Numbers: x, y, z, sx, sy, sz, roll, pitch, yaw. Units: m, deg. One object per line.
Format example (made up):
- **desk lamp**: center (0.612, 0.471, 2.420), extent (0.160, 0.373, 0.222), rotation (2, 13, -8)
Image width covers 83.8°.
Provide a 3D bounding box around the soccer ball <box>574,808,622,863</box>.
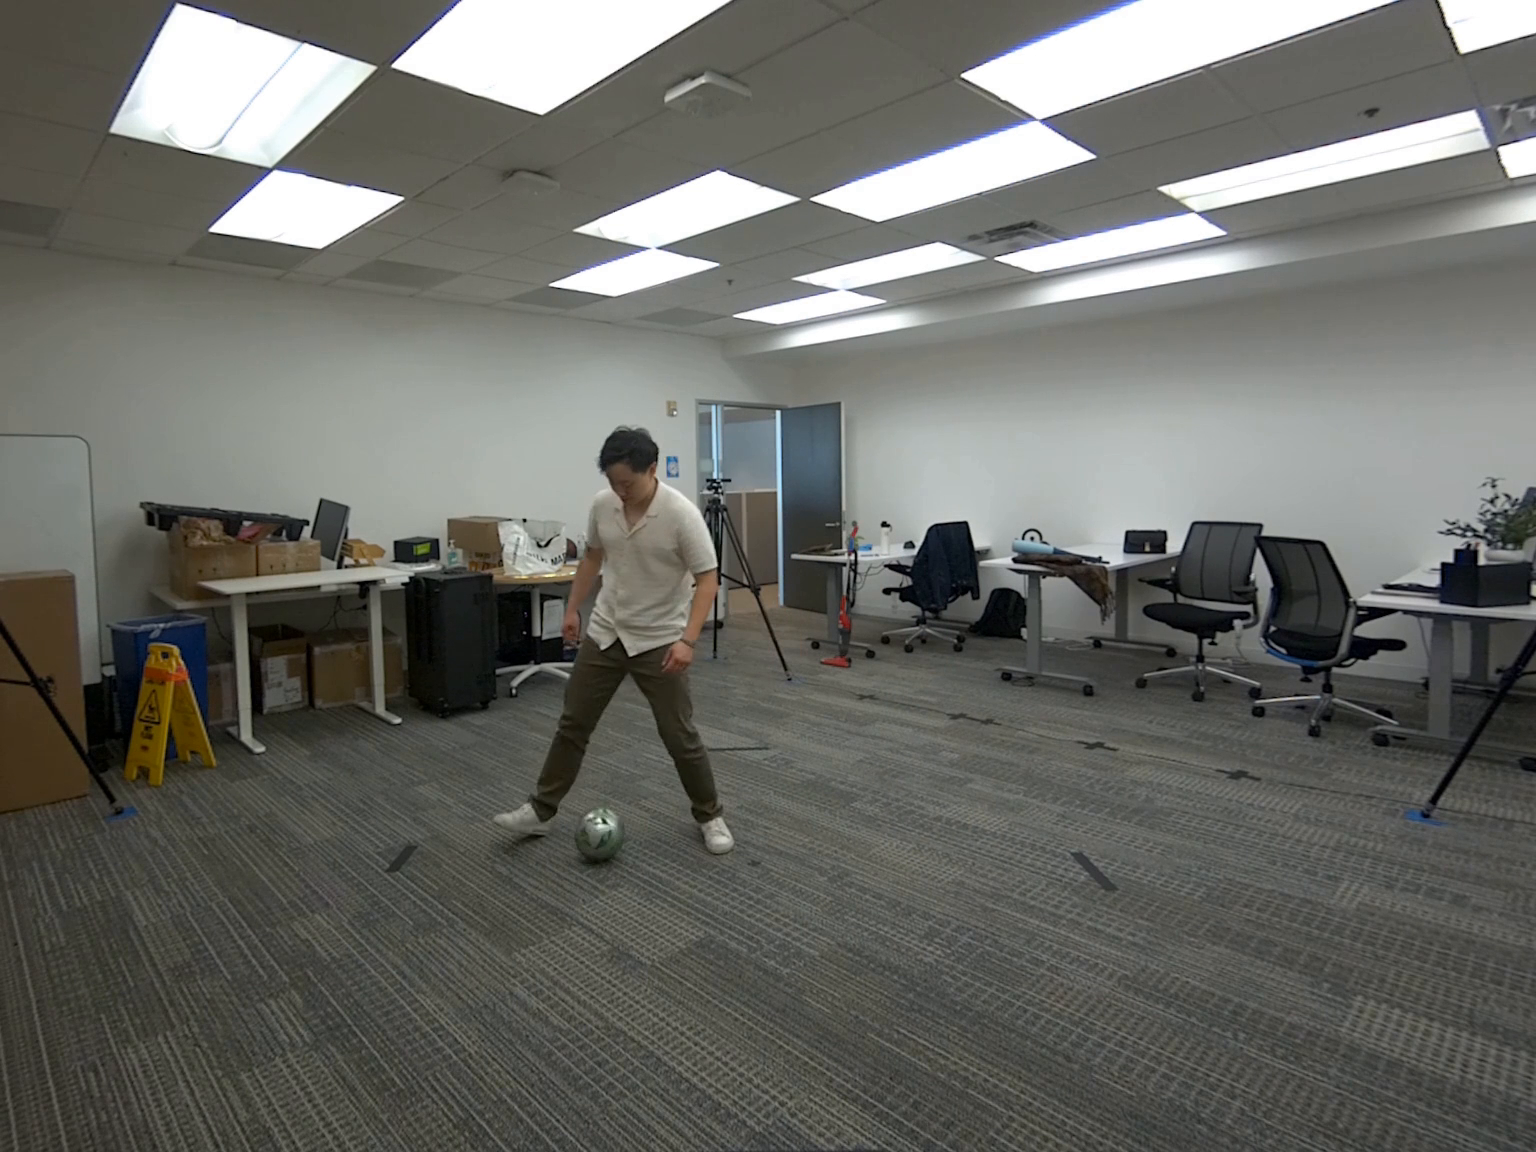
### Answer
- **soccer ball**: center (-0.620, 0.955, 3.157), extent (0.187, 0.187, 0.188), rotation (-1, 5, -2)
